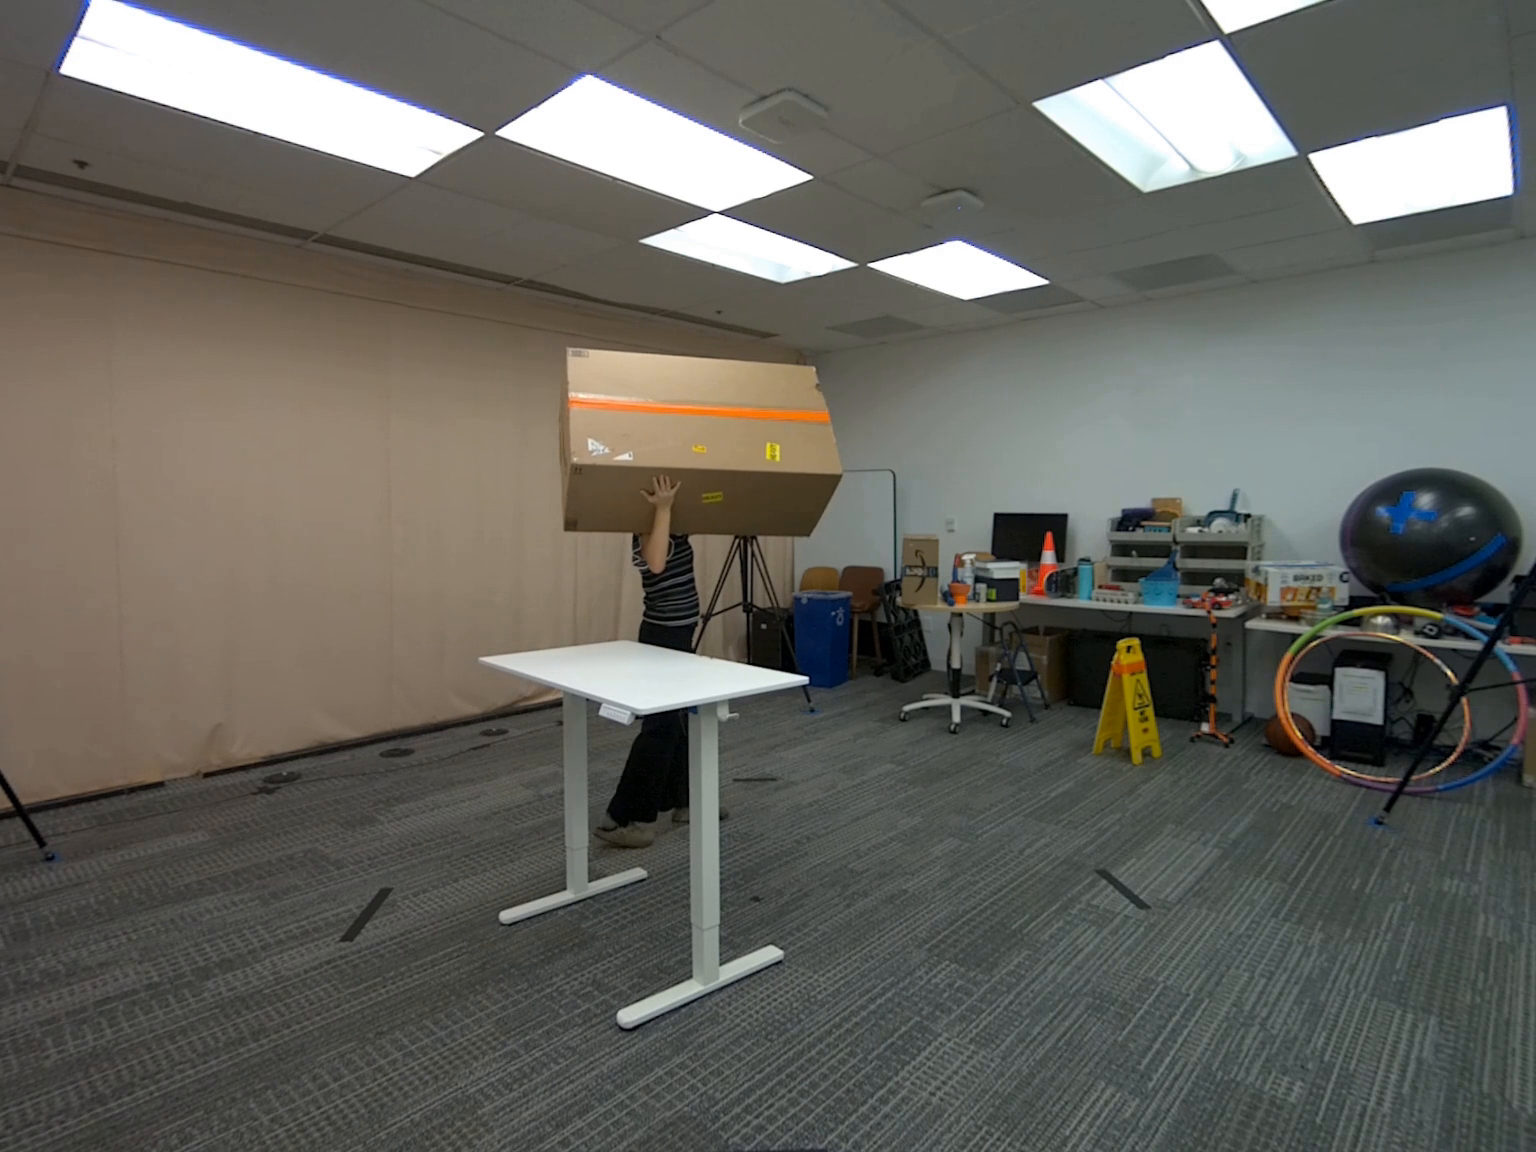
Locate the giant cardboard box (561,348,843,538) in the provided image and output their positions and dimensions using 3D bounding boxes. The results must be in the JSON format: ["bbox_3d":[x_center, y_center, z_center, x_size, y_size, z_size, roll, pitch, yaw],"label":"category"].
[{"bbox_3d":[-0.295,-0.519,3.369,1.010,0.590,0.424,0,-33,-15],"label":"giant cardboard box"}]
